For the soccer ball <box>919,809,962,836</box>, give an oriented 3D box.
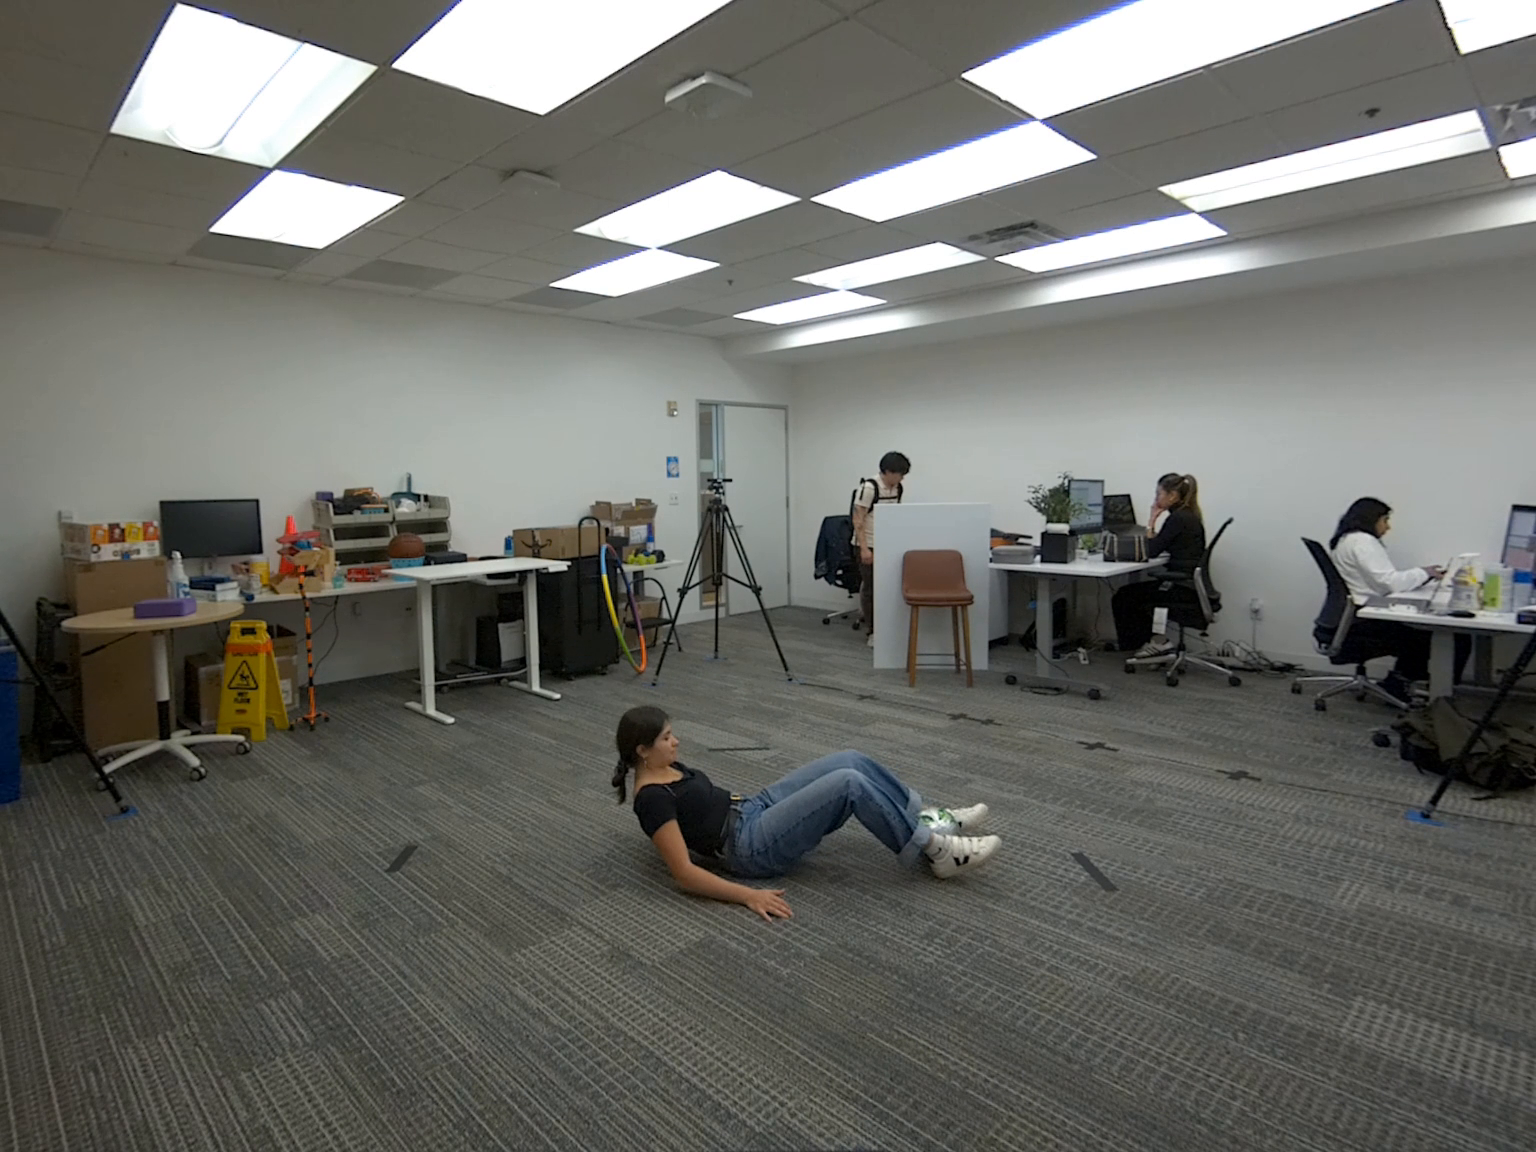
[{"bbox_3d":[0.591,0.927,3.074,0.187,0.187,0.188,0,1,-2],"label":"soccer ball"}]
